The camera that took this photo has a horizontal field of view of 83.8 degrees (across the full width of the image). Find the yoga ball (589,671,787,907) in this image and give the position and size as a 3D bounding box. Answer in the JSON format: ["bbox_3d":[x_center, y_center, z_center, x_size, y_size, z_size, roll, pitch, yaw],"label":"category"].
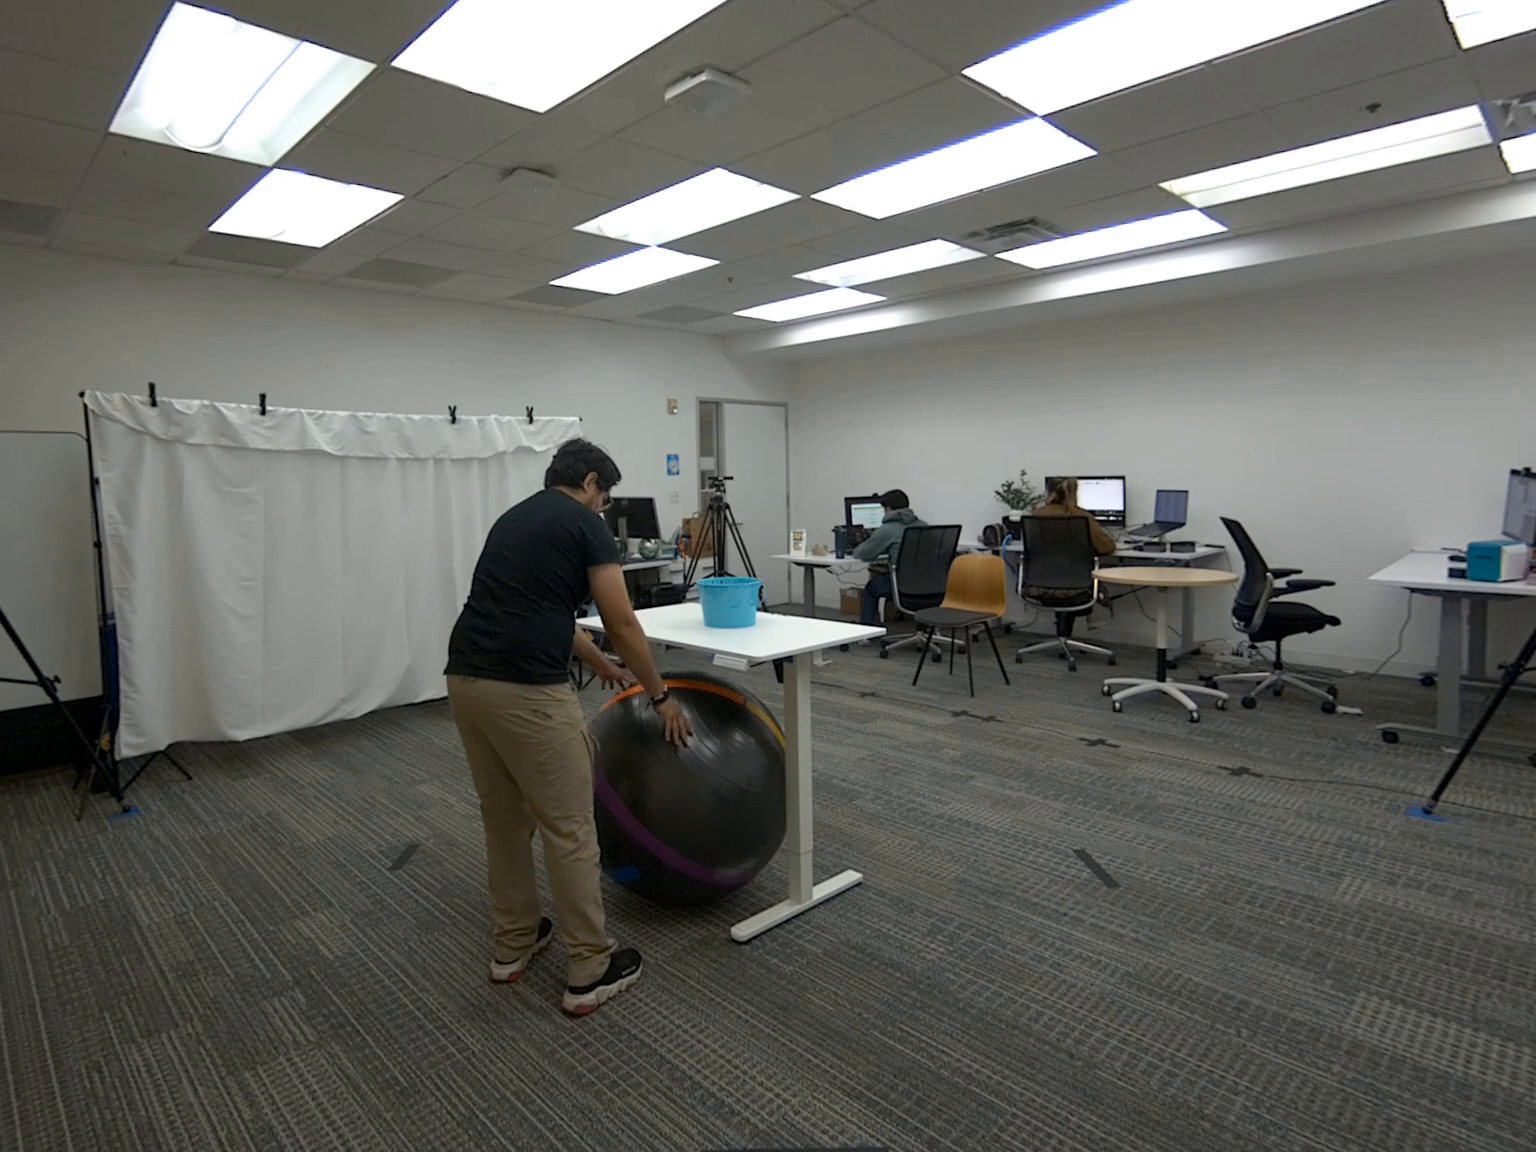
[{"bbox_3d":[-0.297,0.712,2.886,0.757,0.755,0.762,-1,5,-2],"label":"yoga ball"}]
